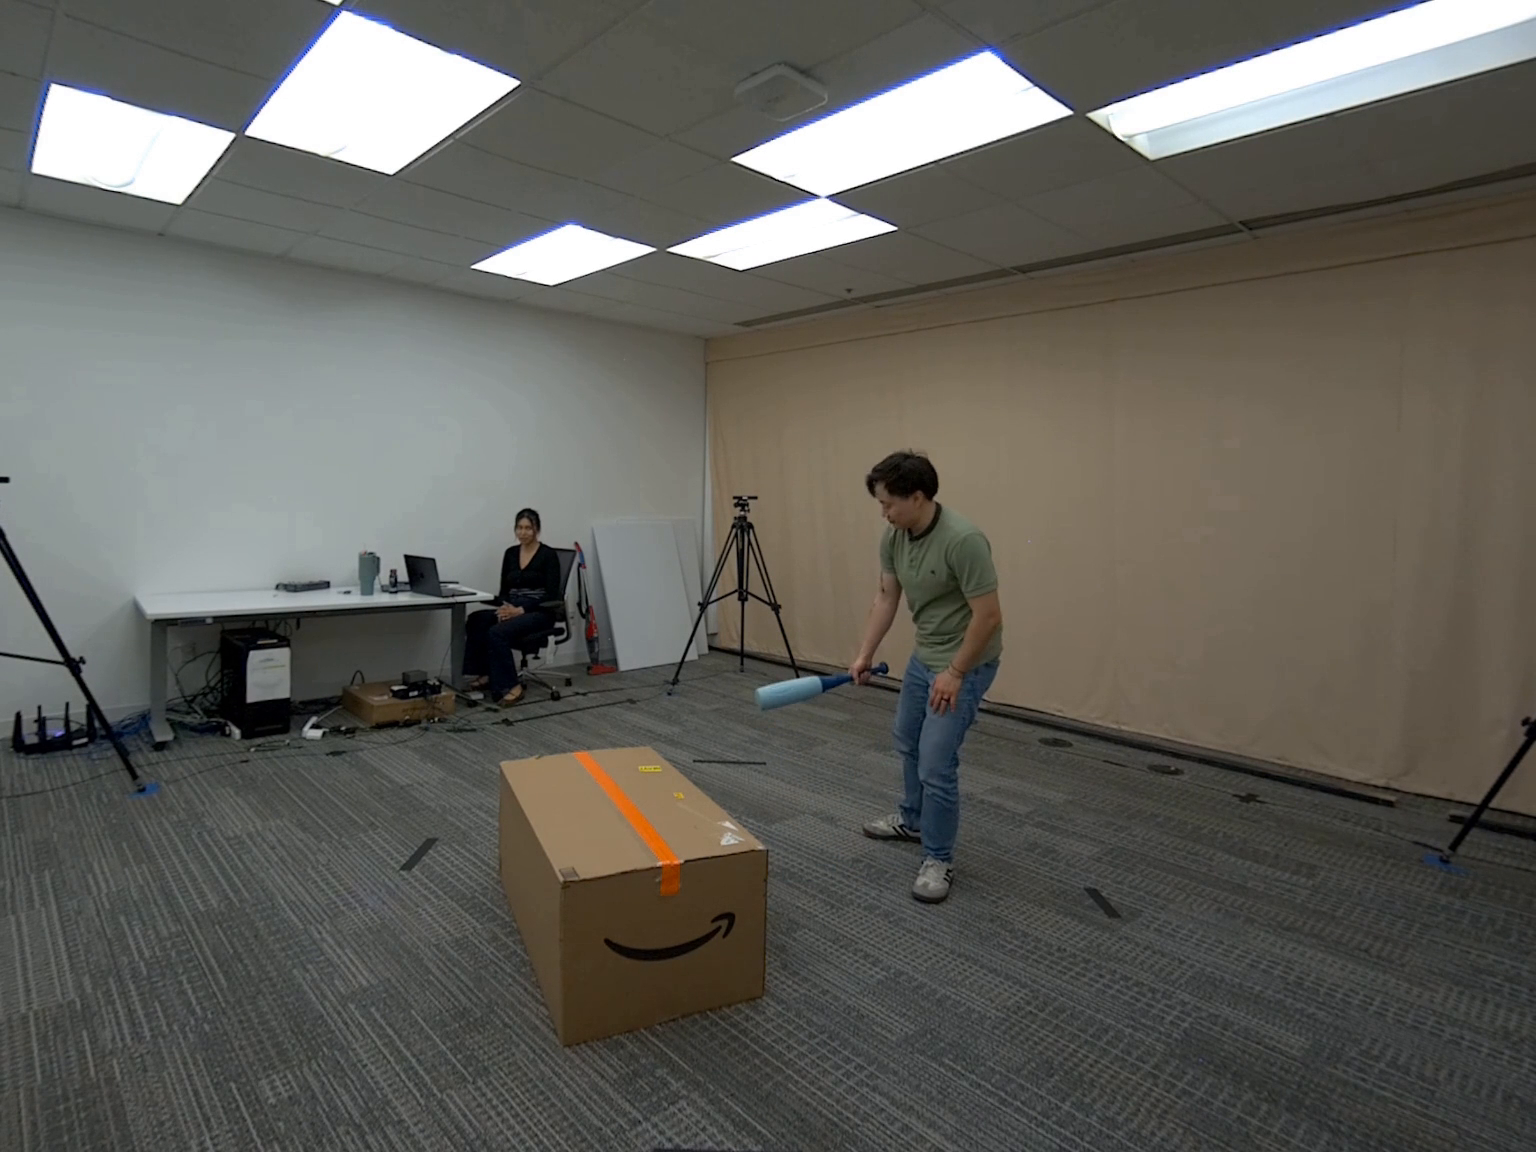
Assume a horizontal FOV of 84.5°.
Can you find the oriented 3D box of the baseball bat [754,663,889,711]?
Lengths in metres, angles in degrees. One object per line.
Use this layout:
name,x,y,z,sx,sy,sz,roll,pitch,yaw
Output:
baseball bat,0.214,0.423,3.196,0.538,0.088,0.090,-11,7,-14
